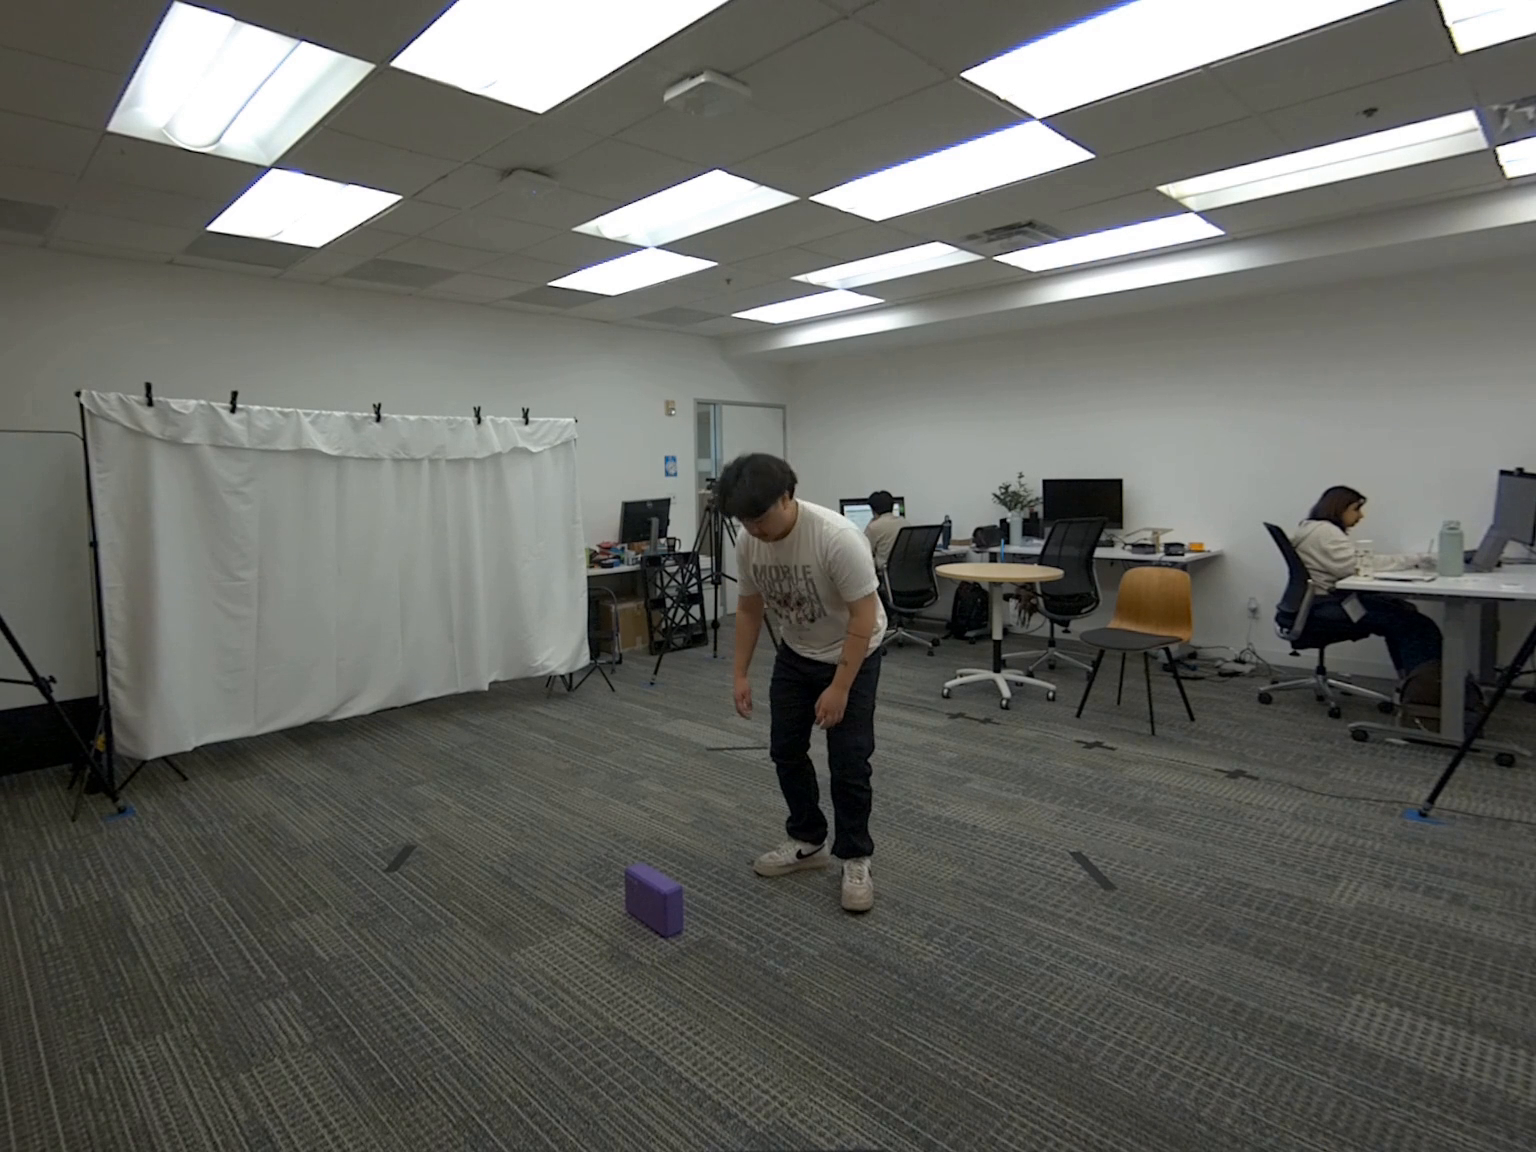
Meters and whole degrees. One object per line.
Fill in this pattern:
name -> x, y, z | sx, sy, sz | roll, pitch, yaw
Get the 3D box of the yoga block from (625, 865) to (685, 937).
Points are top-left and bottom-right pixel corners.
yoga block -> -0.358, 1.021, 2.702 | 0.074, 0.148, 0.236 | -5, 7, -41
